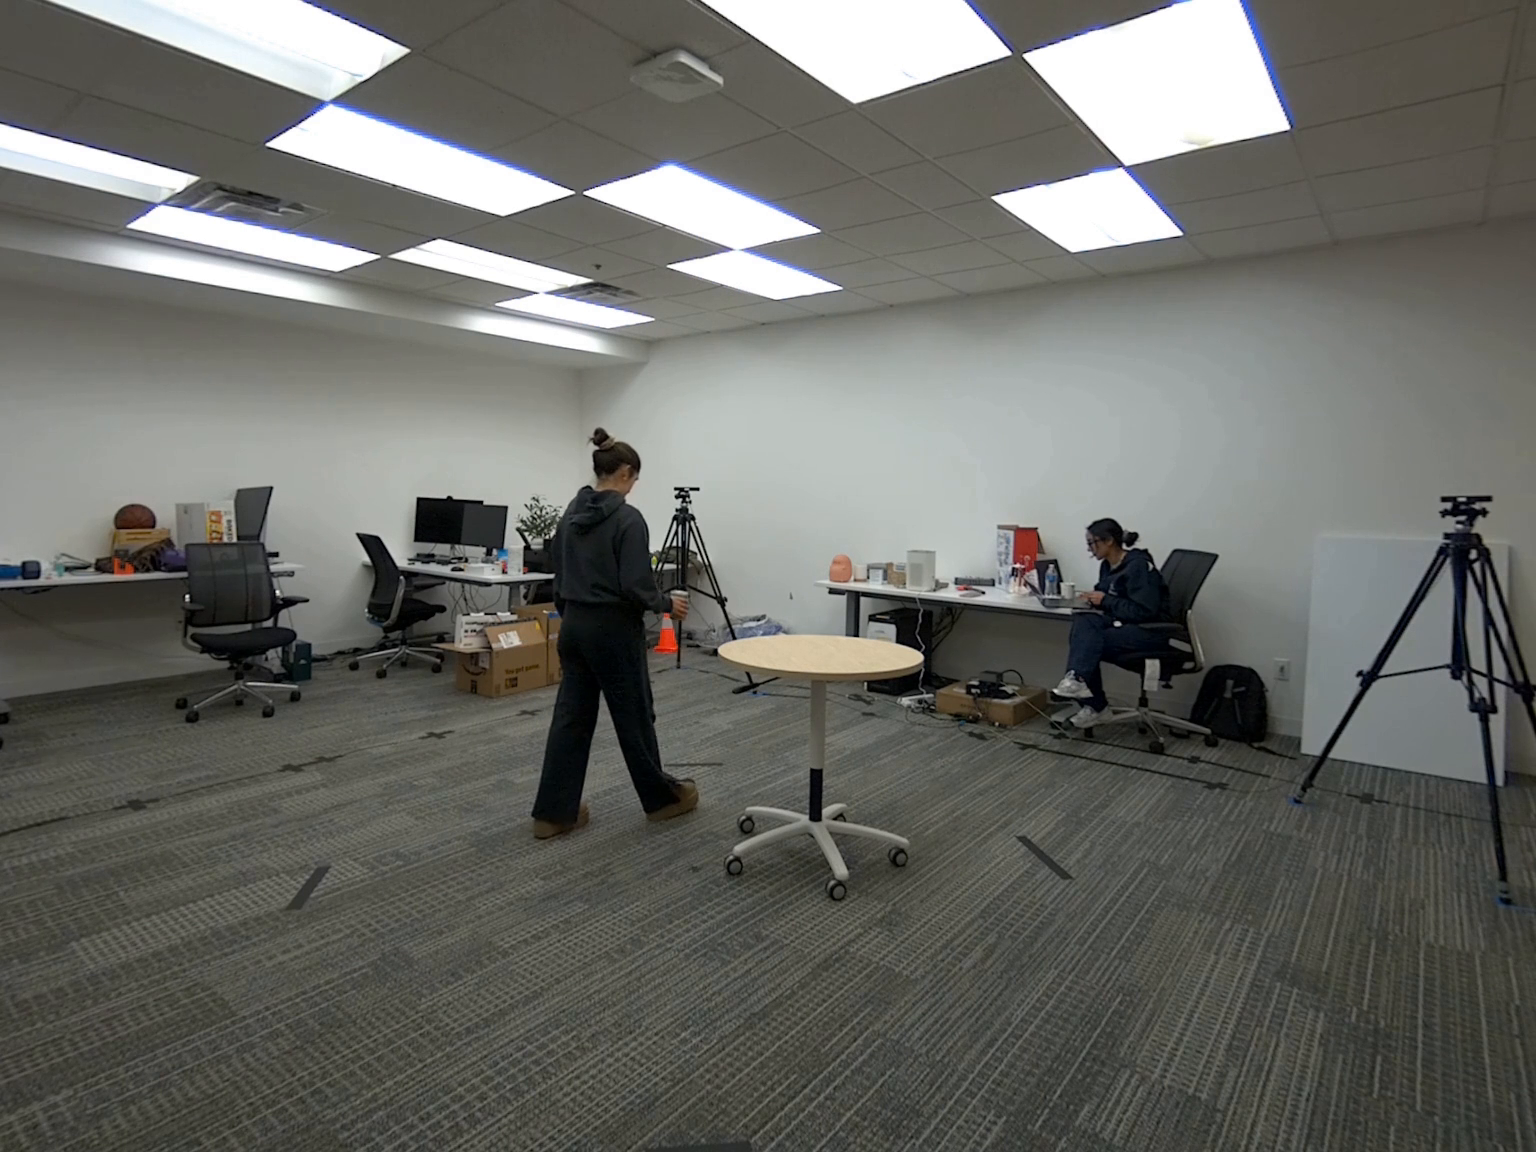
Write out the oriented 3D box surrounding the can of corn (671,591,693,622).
[{"bbox_3d":[-0.366,0.126,3.558,0.074,0.110,0.075,6,6,-3],"label":"can of corn"}]
